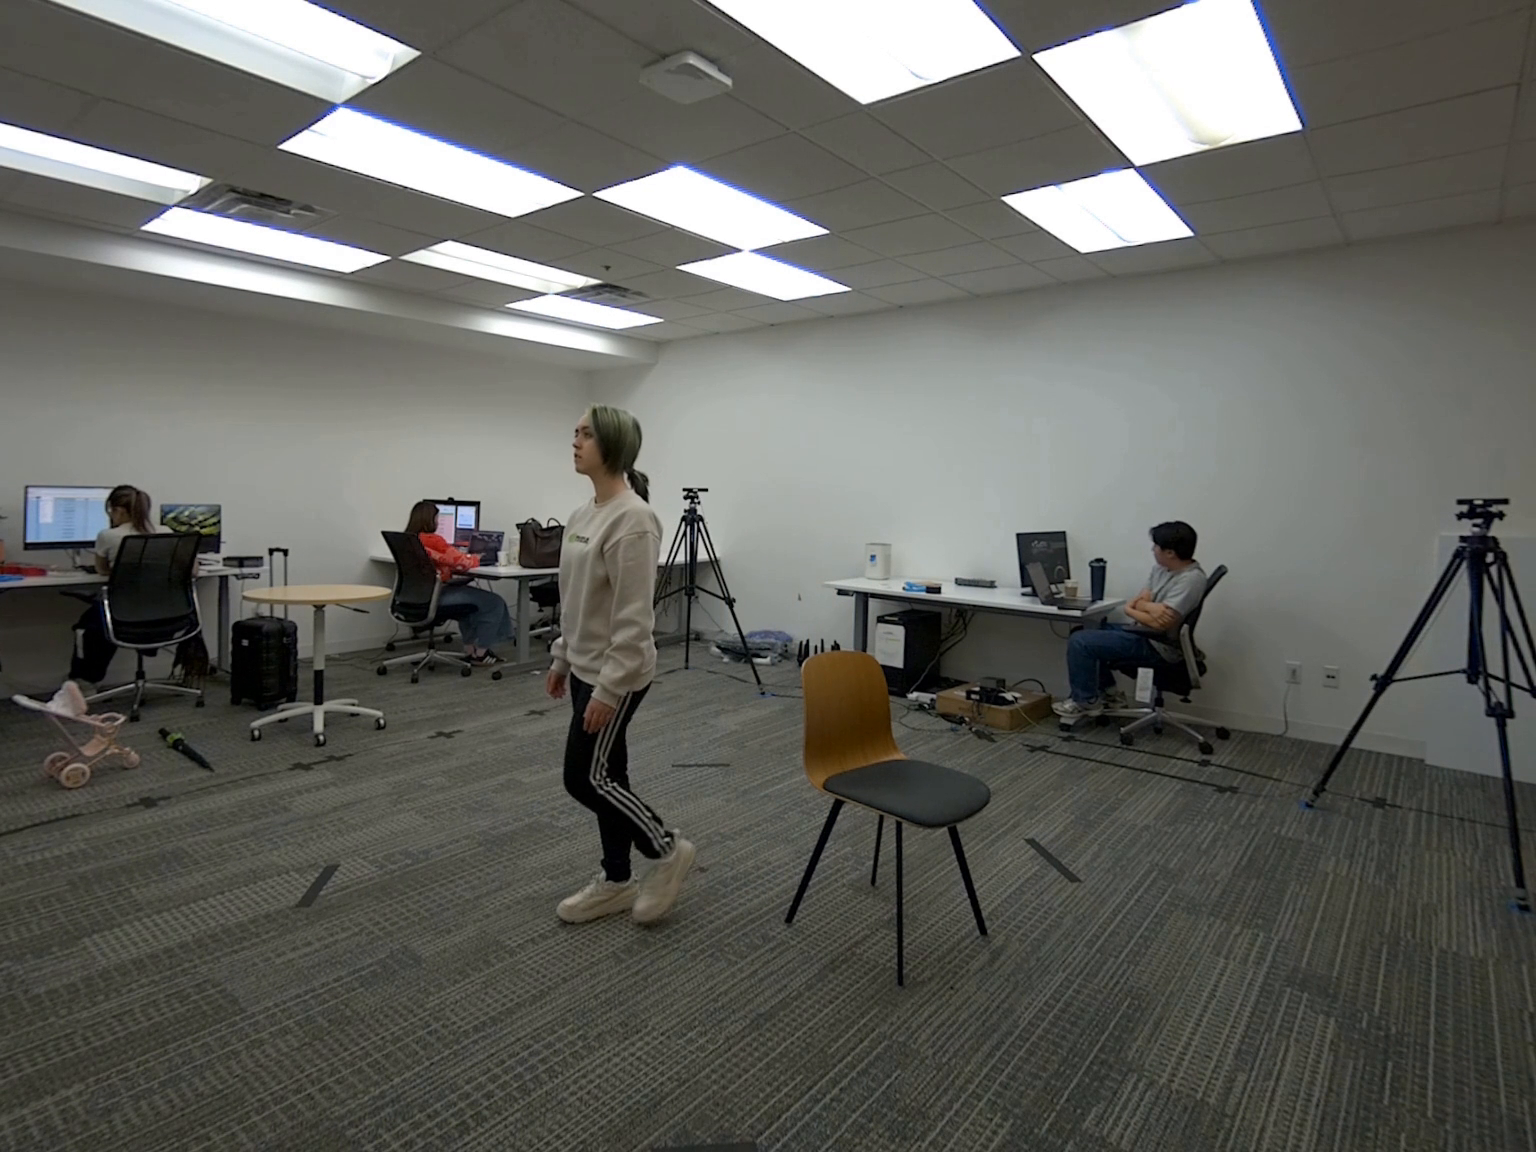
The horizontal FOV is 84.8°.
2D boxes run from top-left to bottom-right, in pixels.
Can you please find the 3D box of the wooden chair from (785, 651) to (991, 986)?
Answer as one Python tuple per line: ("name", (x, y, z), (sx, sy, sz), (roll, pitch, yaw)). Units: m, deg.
("wooden chair", (0.386, 0.701, 2.673), (0.463, 0.878, 0.539), (-1, 0, -43))
